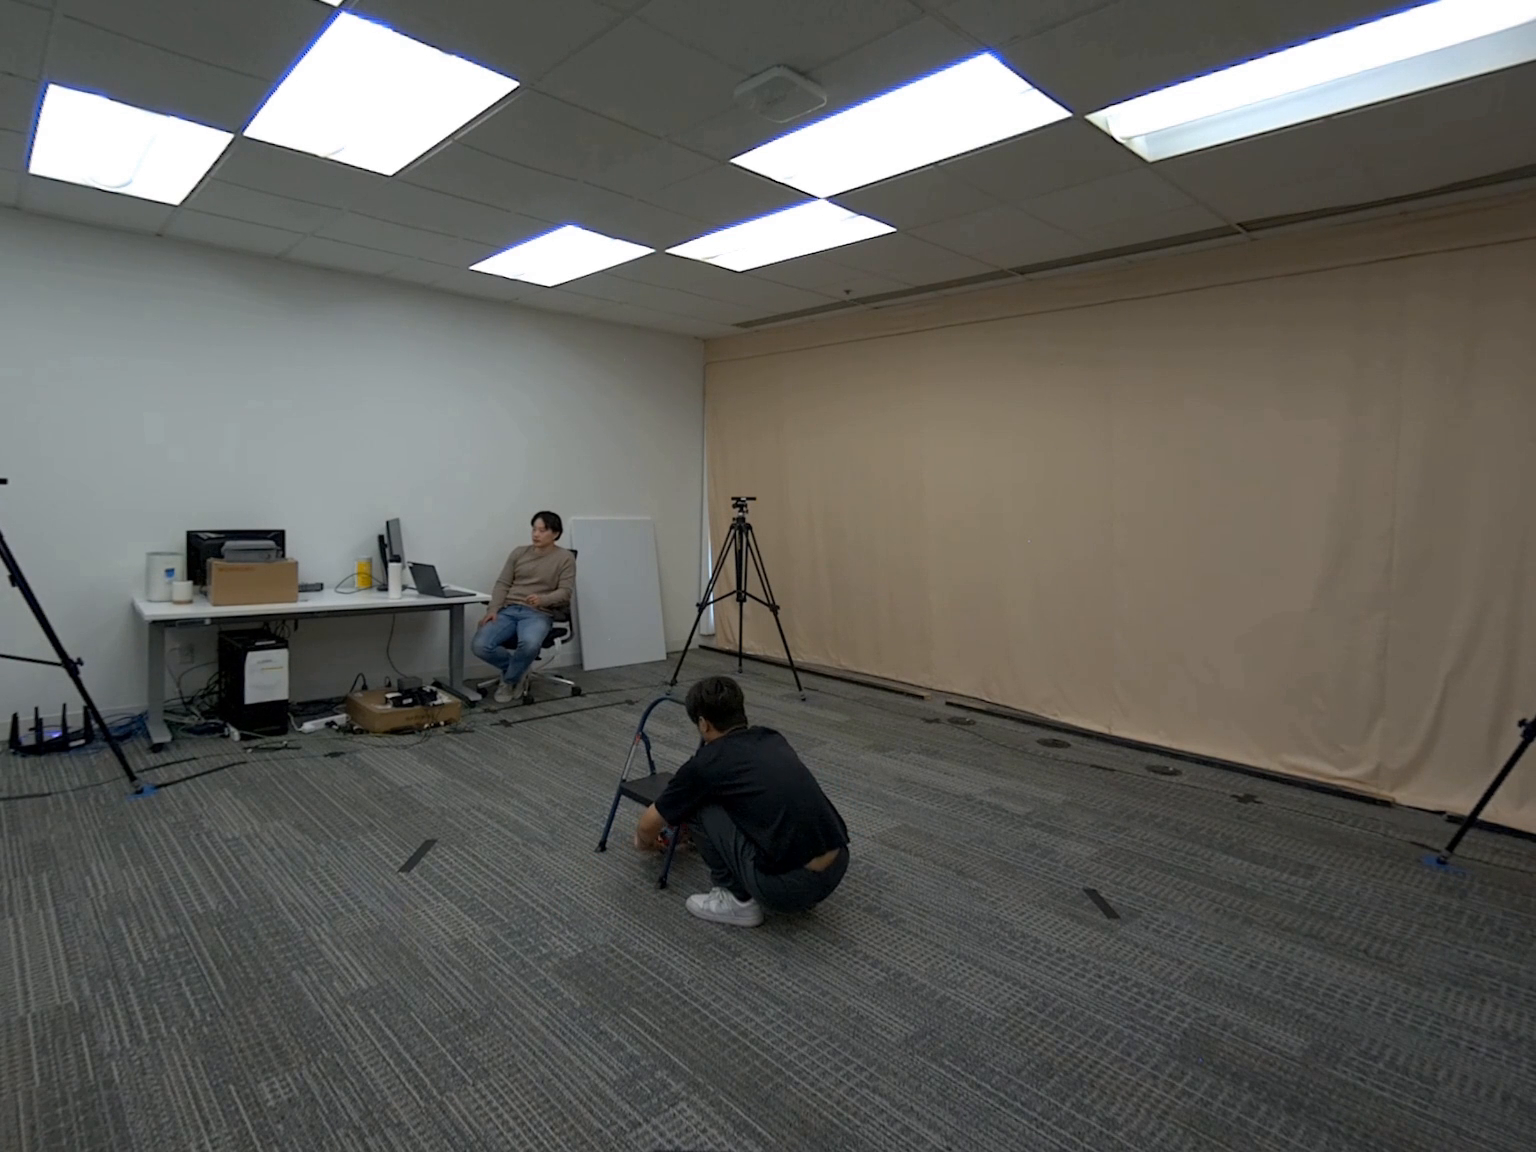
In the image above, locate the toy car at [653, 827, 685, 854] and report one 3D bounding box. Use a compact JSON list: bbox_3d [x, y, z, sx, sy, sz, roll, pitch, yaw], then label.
[{"bbox_3d":[-0.355,1.016,3.301,0.134,0.082,0.250,14,24,42],"label":"toy car"}]
